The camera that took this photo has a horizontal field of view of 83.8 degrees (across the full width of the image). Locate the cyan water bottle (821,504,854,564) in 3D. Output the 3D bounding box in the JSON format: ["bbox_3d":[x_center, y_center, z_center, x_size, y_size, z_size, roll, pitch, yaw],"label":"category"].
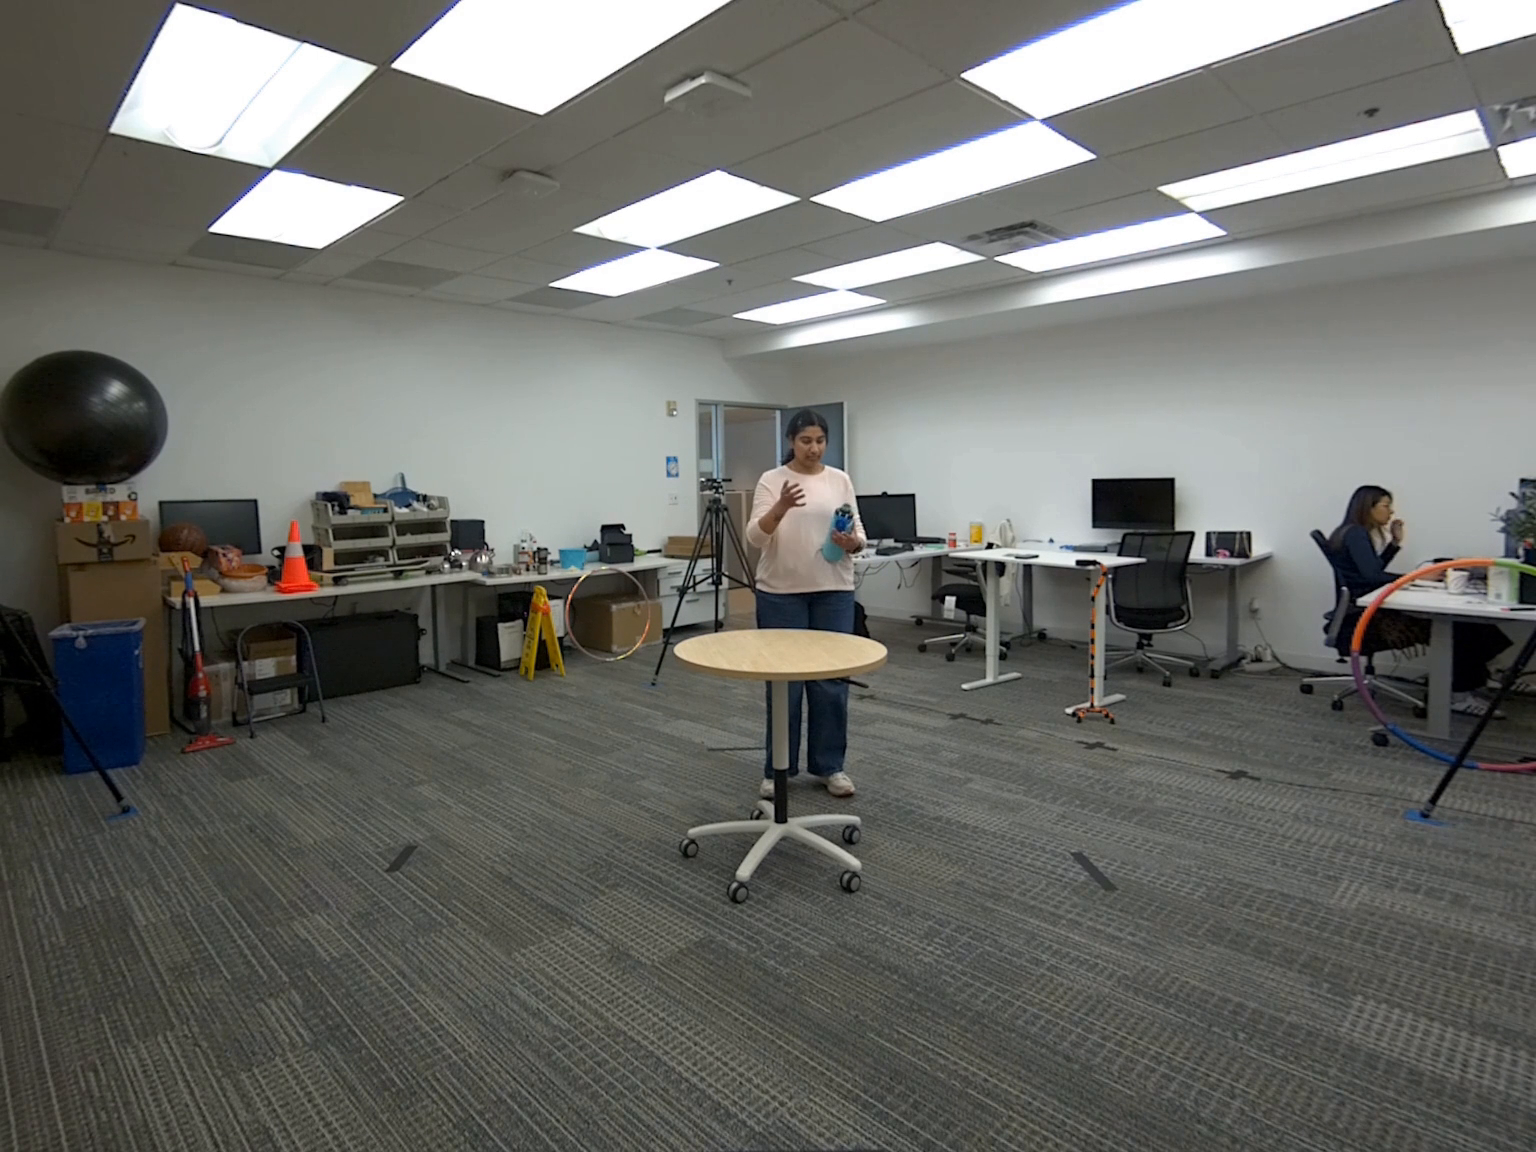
[{"bbox_3d":[0.290,-0.186,3.604,0.092,0.095,0.277,5,-41,-7],"label":"cyan water bottle"}]
